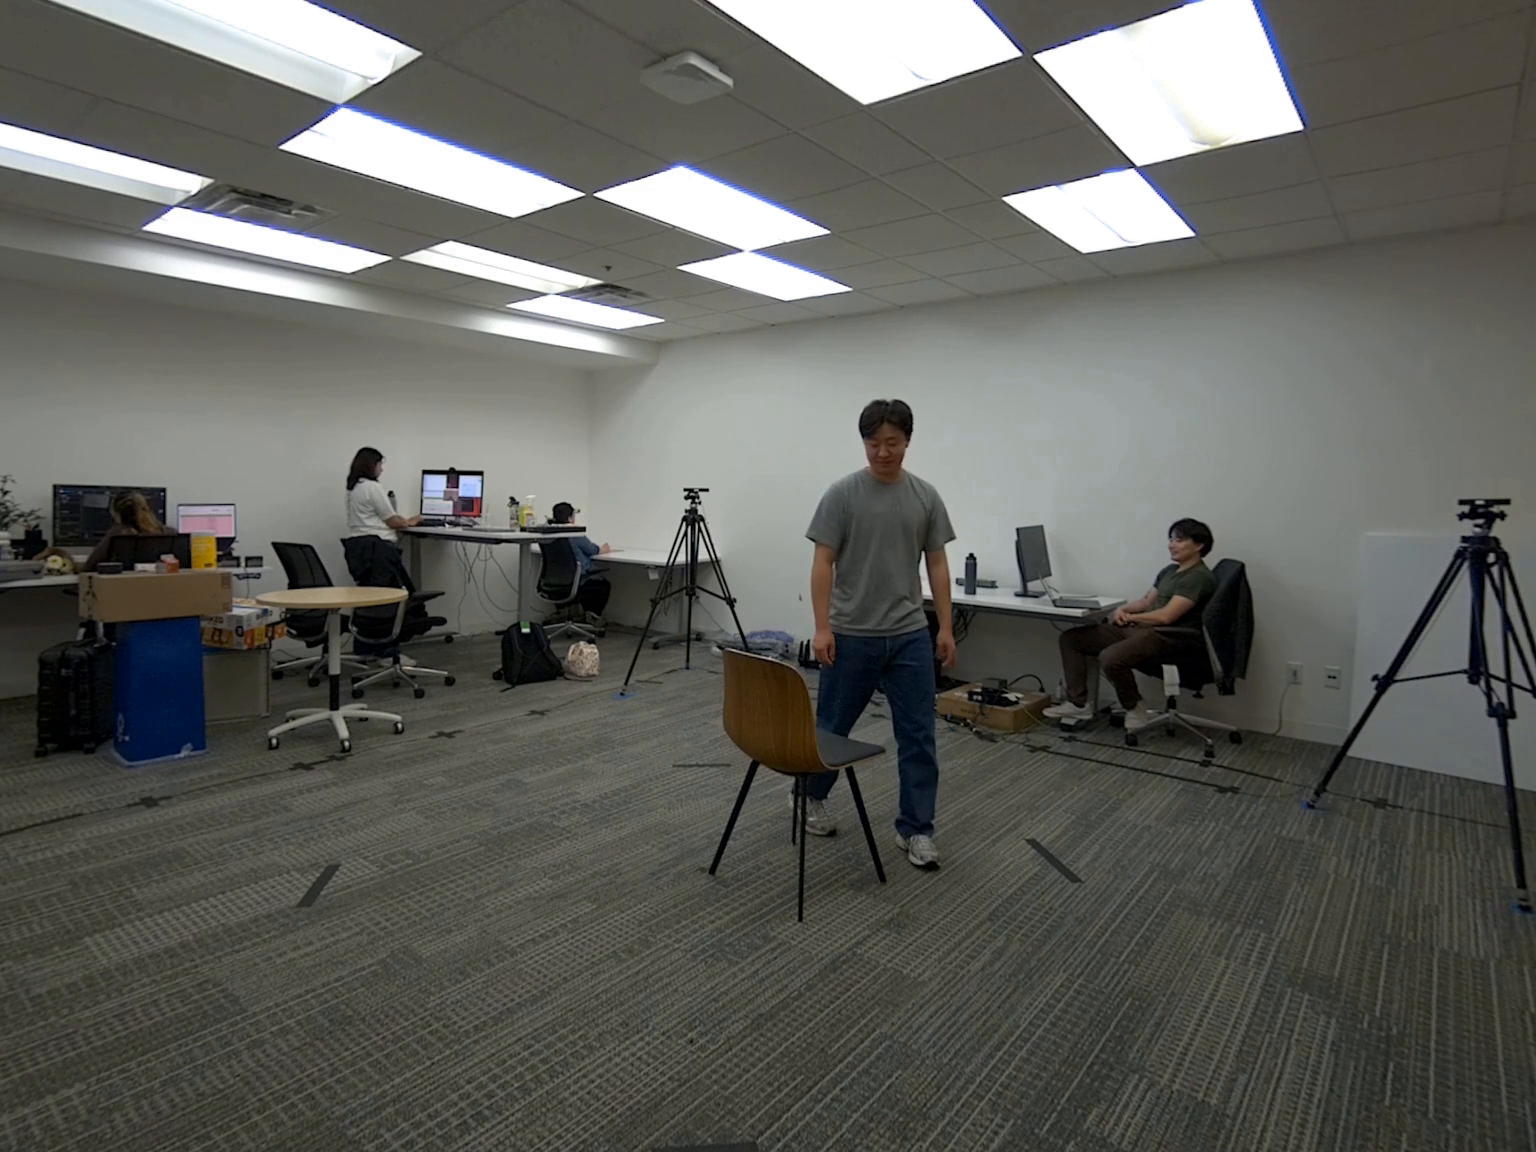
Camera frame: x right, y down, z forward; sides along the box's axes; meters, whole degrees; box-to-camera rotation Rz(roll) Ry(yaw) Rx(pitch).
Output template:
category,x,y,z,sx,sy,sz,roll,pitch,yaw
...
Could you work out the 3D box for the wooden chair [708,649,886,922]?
category,x,y,z,sx,sy,sz,roll,pitch,yaw
wooden chair,0.107,0.657,3.031,0.508,0.872,0.494,-7,8,-44
